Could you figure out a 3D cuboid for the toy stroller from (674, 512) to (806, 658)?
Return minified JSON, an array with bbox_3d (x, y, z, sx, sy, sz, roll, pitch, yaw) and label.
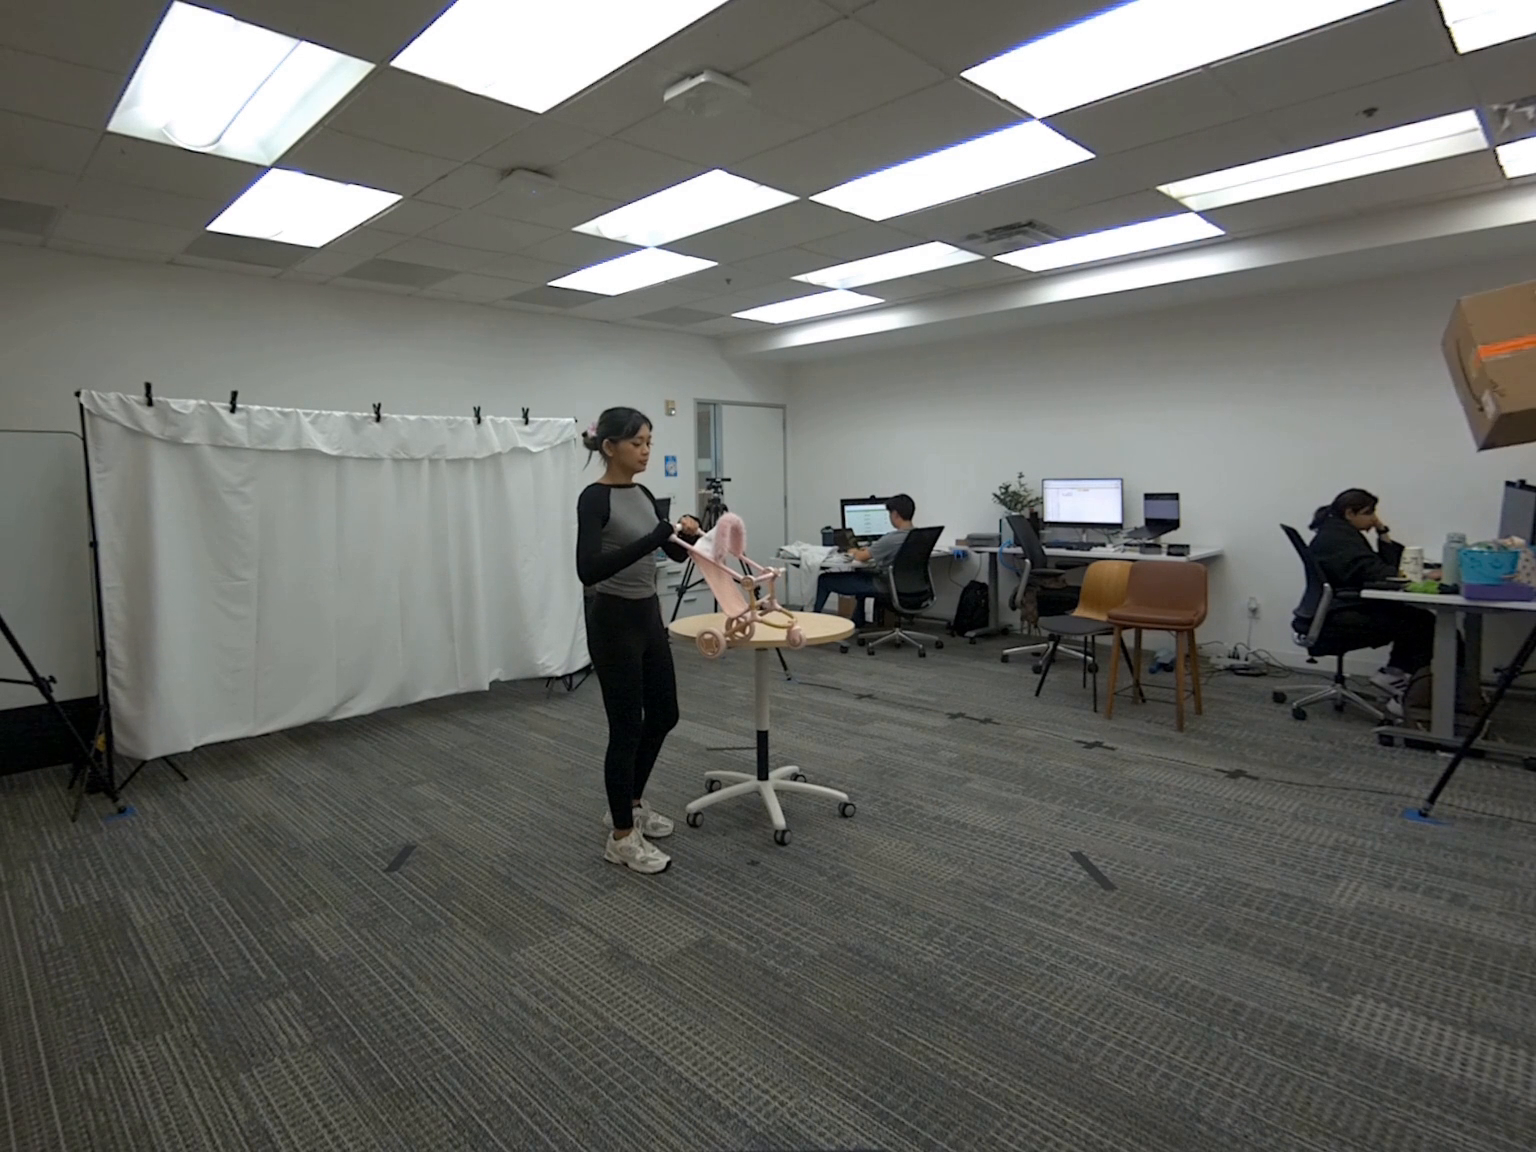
[{"bbox_3d":[-0.098,0.029,2.854,0.347,0.537,0.276,-18,-2,28],"label":"toy stroller"}]
